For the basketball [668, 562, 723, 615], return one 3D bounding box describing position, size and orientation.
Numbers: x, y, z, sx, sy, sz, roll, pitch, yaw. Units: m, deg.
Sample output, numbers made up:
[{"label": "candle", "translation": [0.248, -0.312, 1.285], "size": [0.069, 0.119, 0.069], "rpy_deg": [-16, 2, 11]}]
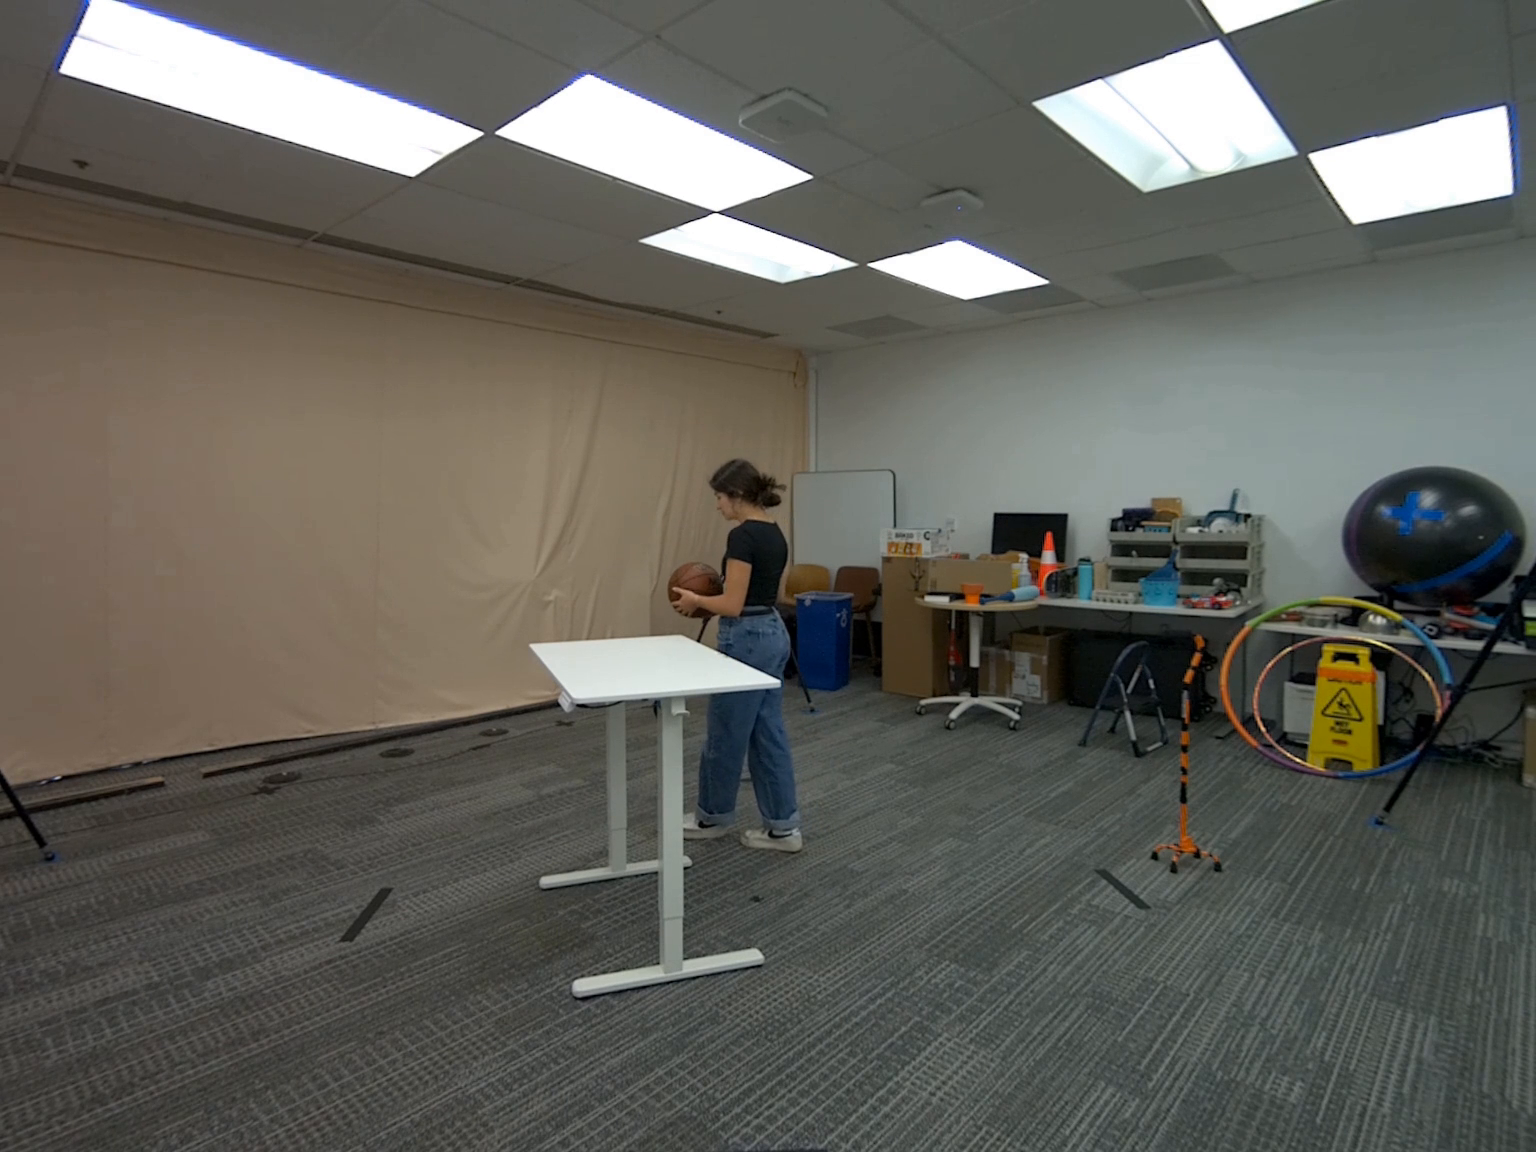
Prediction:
[{"label": "basketball", "translation": [-0.310, 0.060, 3.594], "size": [0.236, 0.235, 0.237], "rpy_deg": [0, 4, -2]}]
